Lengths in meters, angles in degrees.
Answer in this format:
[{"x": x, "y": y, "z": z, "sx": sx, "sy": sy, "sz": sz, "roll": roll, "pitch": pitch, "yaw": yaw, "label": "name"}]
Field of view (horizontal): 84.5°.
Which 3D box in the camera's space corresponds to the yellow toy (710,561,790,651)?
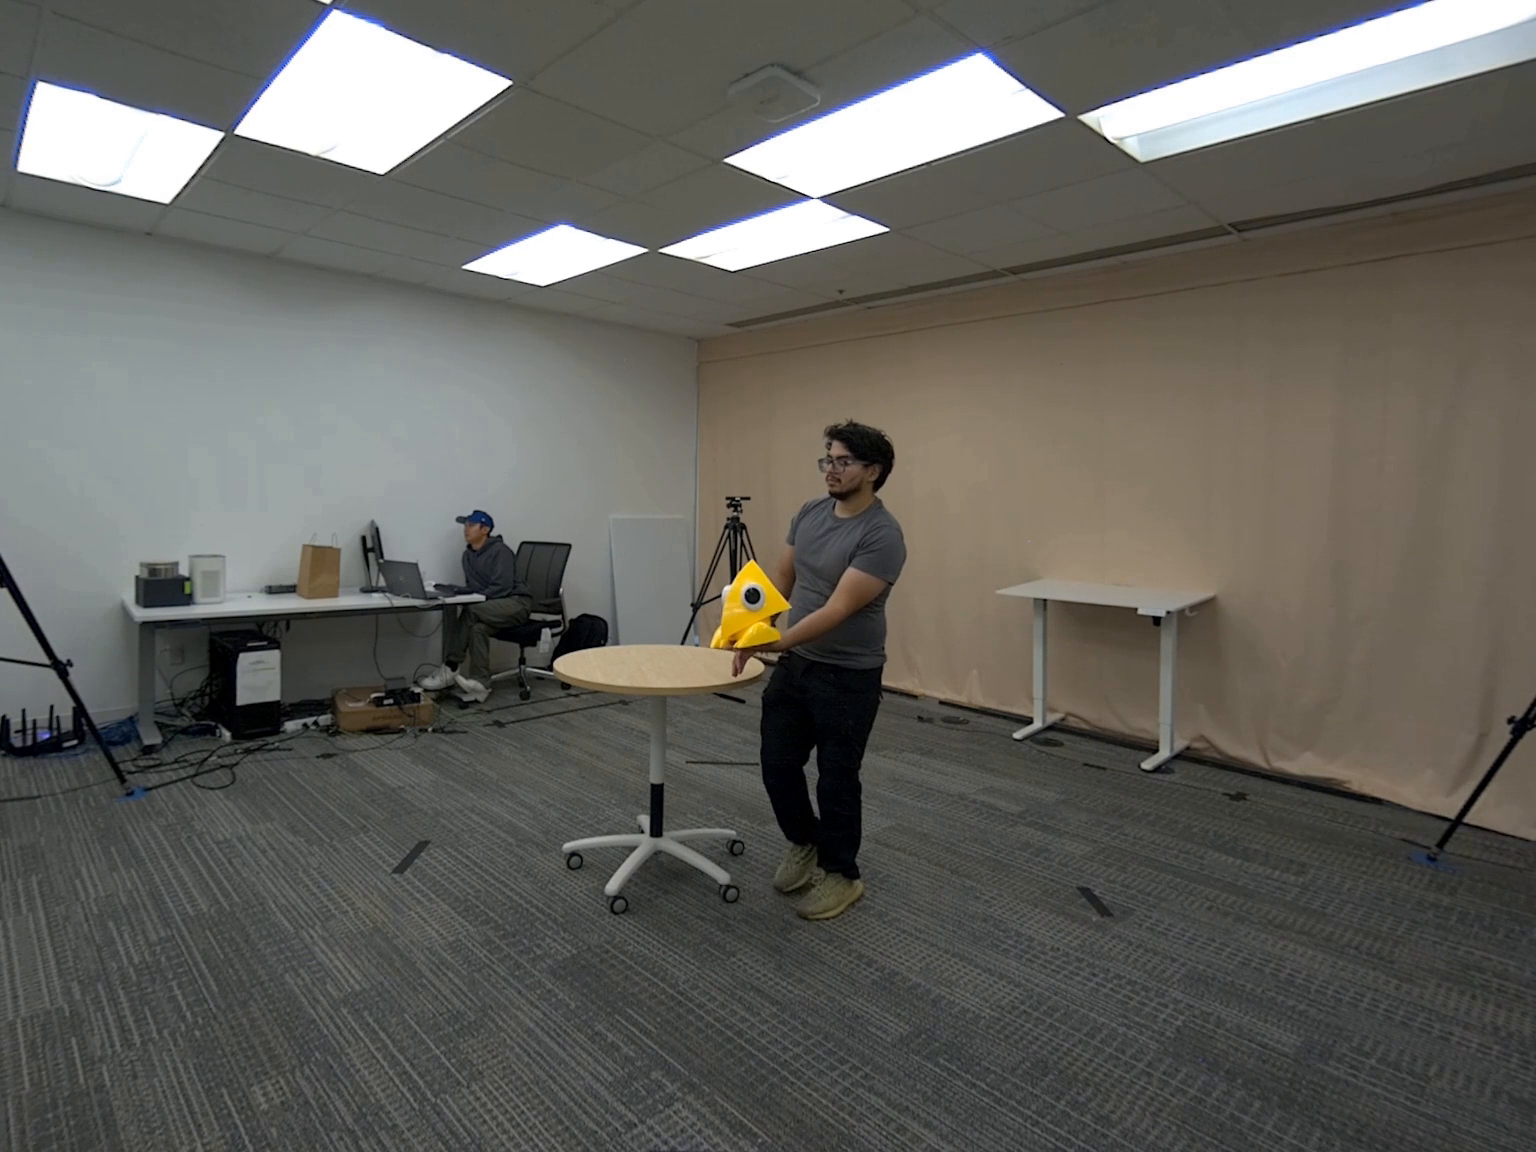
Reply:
[{"x": -0.076, "y": 0.075, "z": 2.395, "sx": 0.189, "sy": 0.231, "sz": 0.209, "roll": -9, "pitch": 1, "yaw": -39, "label": "yellow toy"}]
